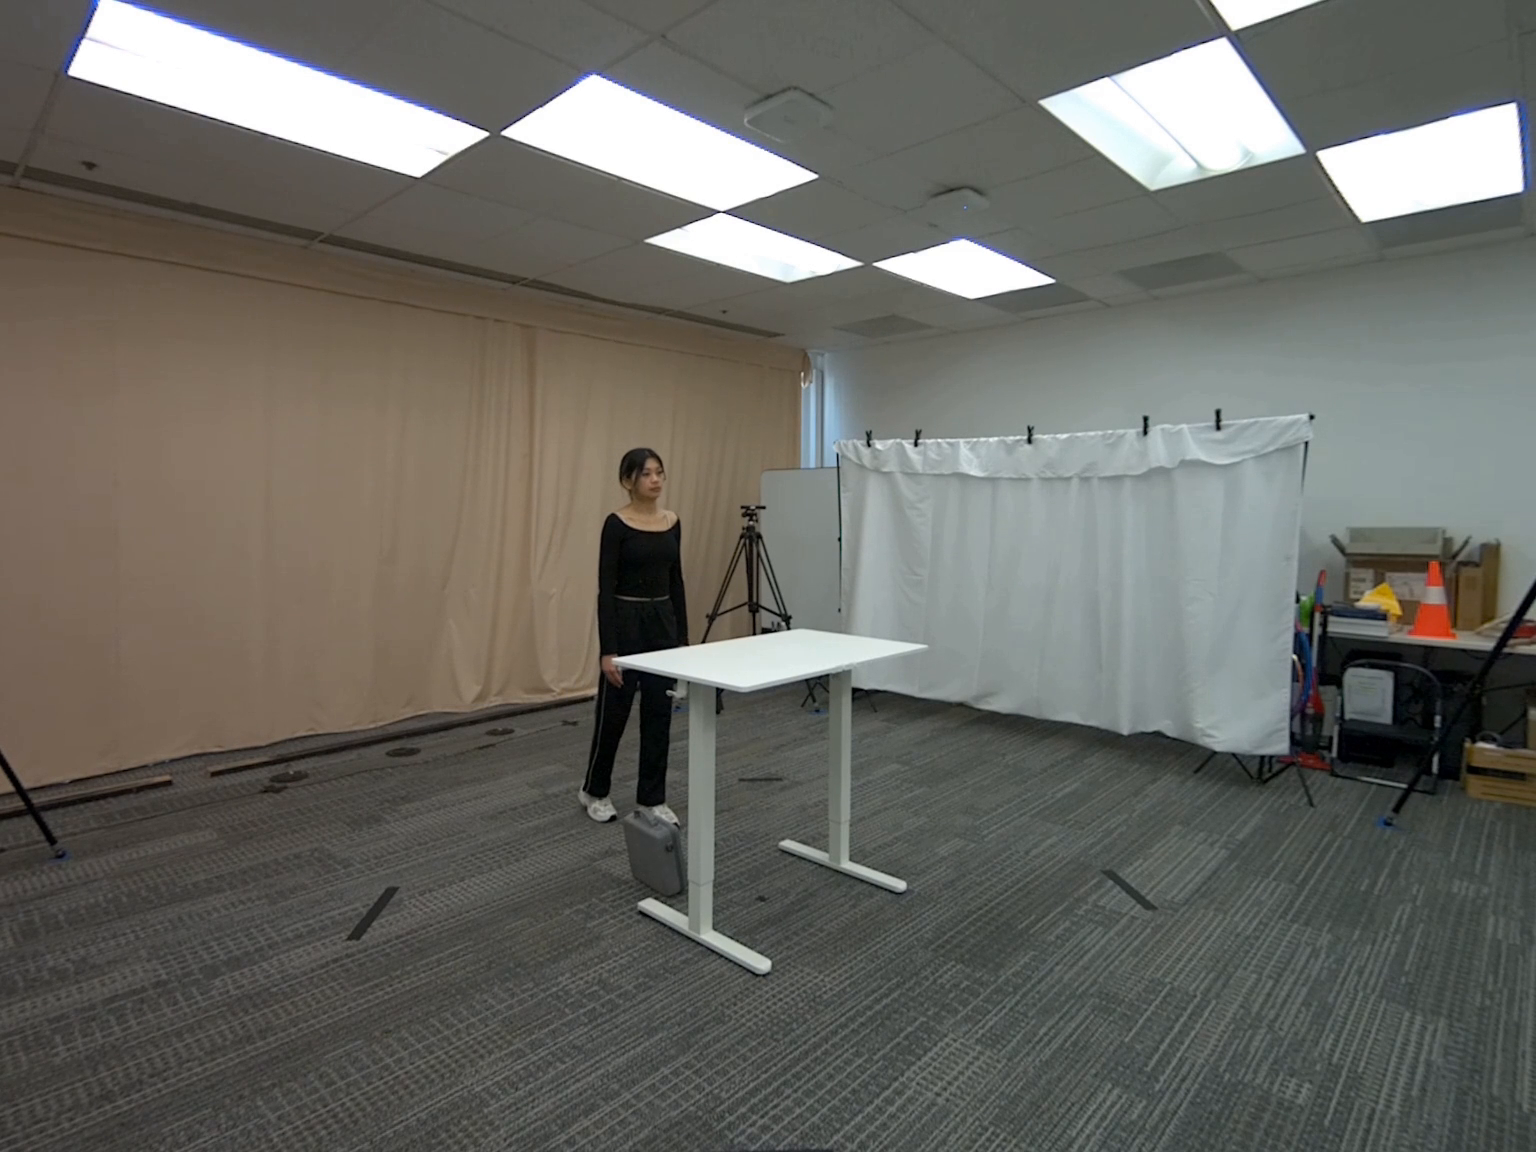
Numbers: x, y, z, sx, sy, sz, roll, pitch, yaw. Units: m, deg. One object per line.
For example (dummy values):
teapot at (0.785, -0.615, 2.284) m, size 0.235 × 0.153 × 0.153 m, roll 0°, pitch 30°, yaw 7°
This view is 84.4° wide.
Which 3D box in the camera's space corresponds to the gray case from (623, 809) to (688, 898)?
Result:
gray case at (-0.414, 1.004, 3.086) m, size 0.102 × 0.259 × 0.265 m, roll -14°, pitch 12°, yaw -36°
